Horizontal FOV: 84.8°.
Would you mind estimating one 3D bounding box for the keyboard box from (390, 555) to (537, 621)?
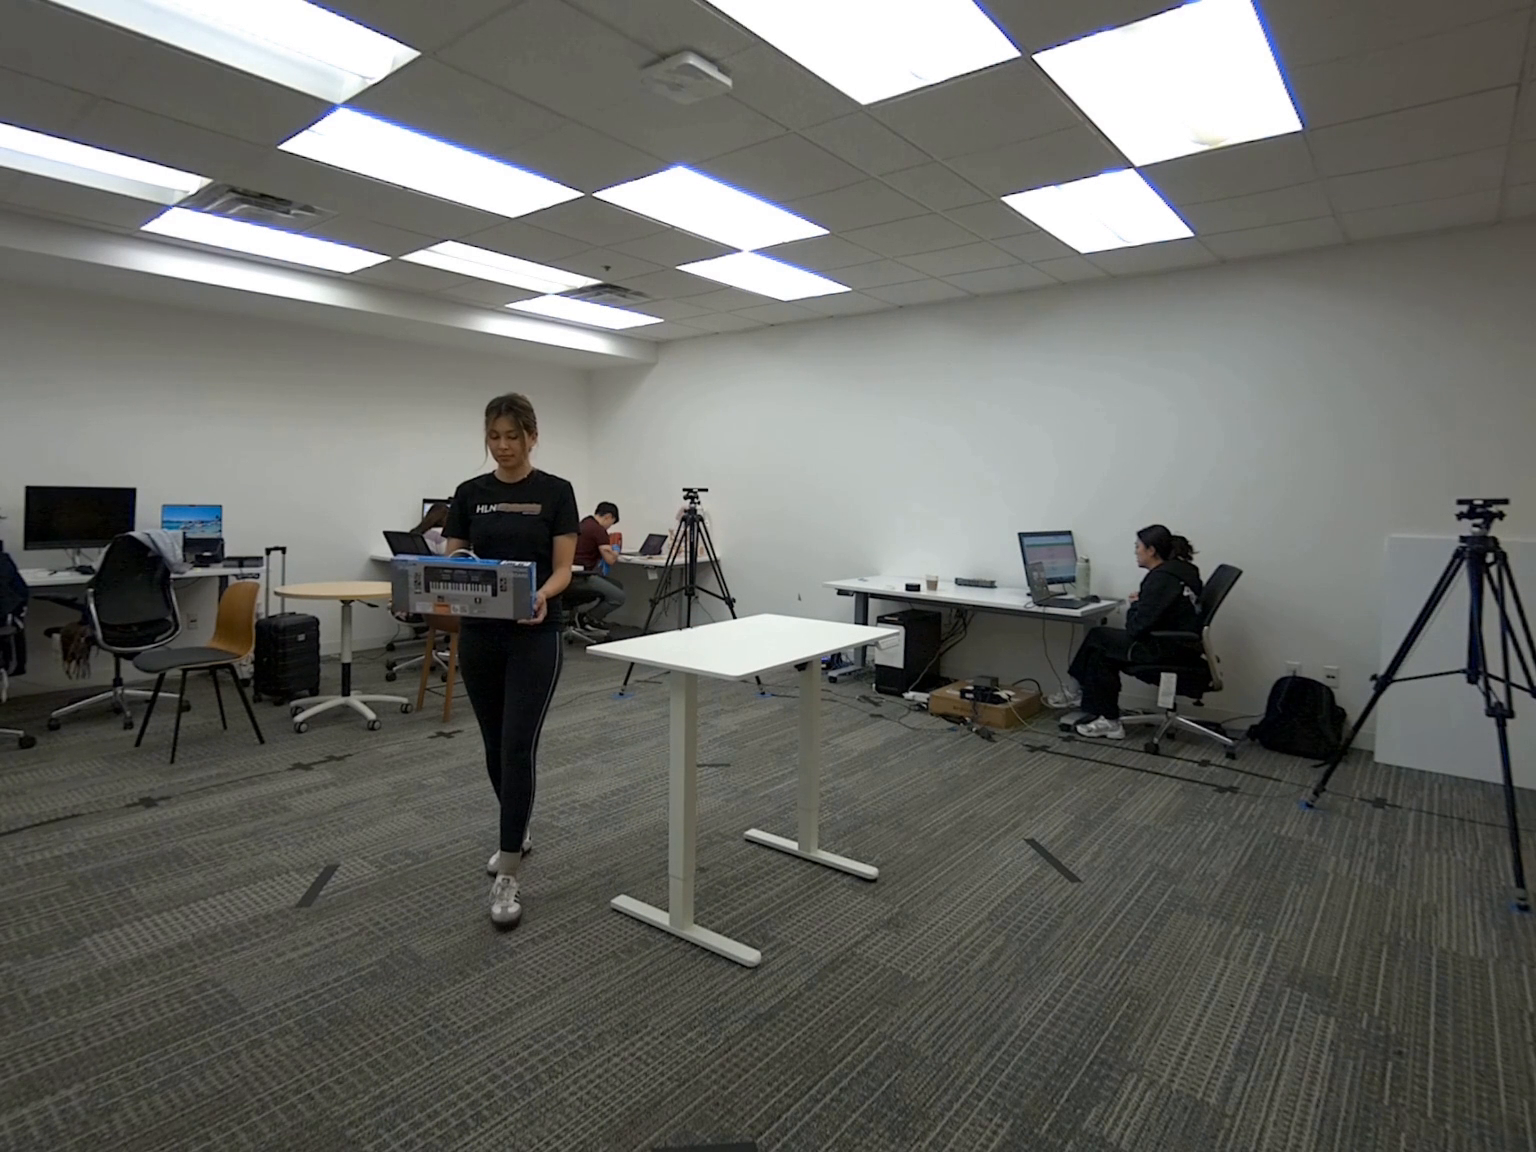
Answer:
[{"bbox_3d":[-0.956,0.029,2.618,0.438,0.174,0.059,3,11,4],"label":"keyboard box"}]
